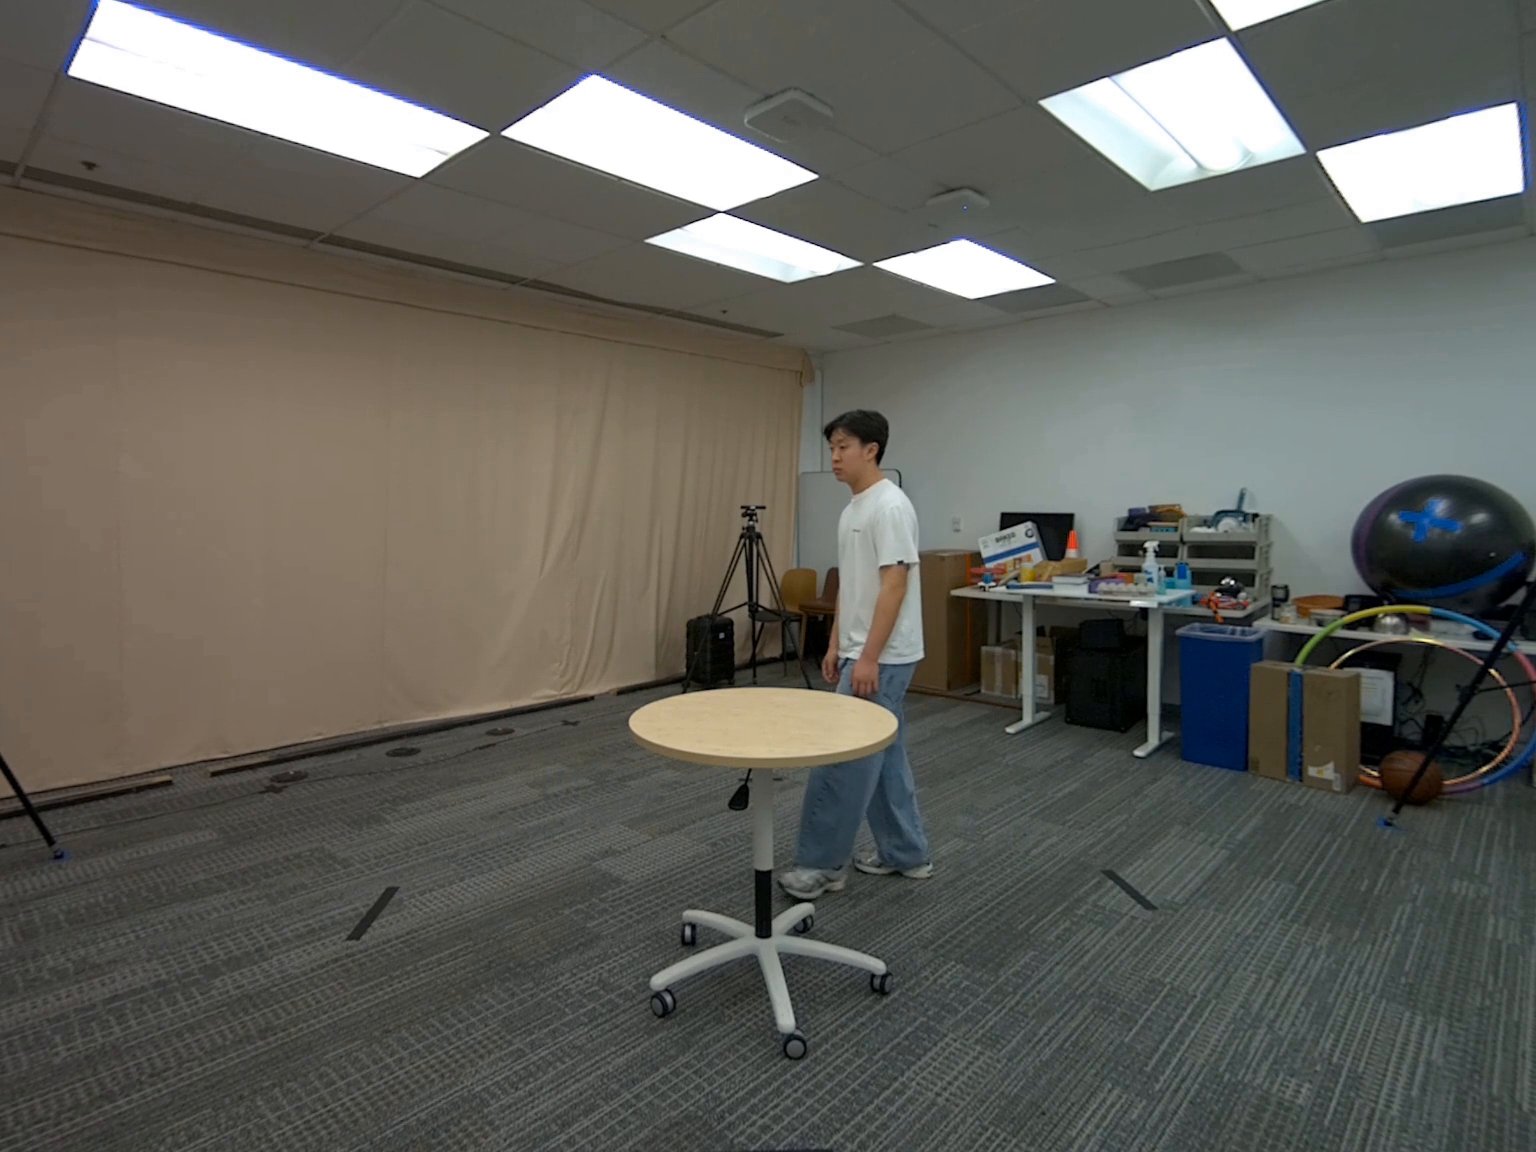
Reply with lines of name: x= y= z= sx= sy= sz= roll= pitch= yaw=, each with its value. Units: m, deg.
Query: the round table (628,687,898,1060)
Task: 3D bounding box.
round table: x=-0.027 y=0.798 z=2.439 sx=0.784 sy=0.785 sz=0.788 roll=0 pitch=4 yaw=-2
